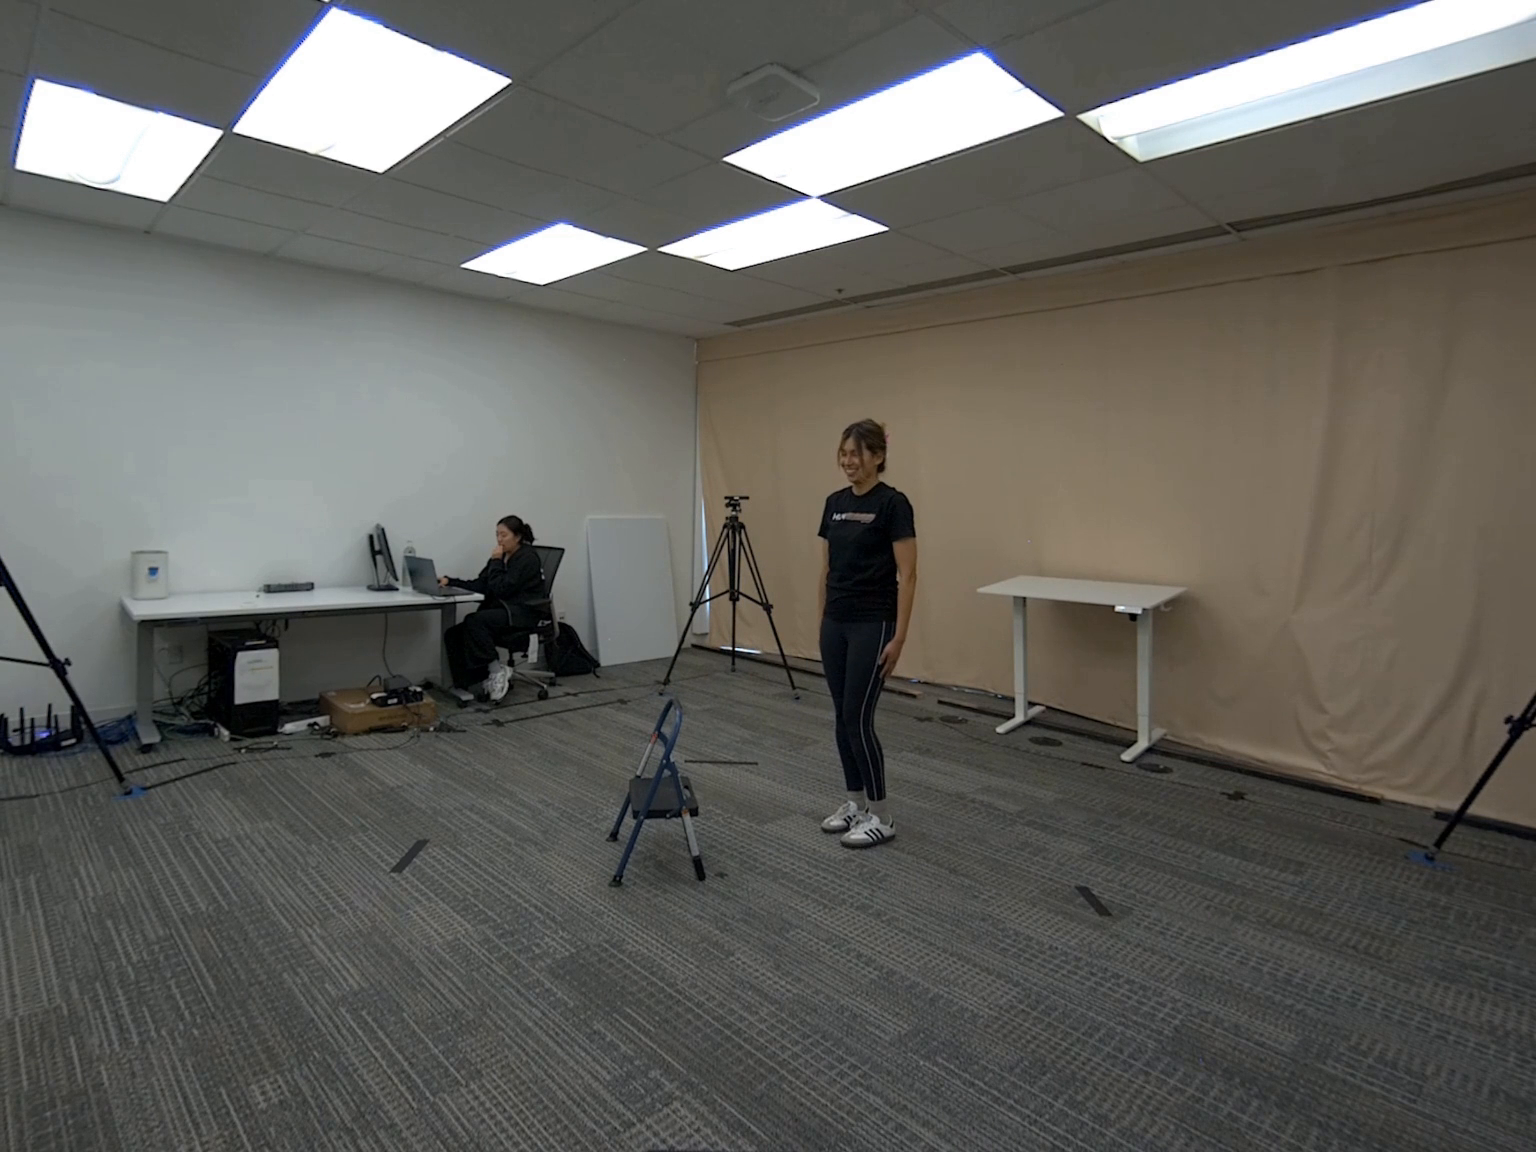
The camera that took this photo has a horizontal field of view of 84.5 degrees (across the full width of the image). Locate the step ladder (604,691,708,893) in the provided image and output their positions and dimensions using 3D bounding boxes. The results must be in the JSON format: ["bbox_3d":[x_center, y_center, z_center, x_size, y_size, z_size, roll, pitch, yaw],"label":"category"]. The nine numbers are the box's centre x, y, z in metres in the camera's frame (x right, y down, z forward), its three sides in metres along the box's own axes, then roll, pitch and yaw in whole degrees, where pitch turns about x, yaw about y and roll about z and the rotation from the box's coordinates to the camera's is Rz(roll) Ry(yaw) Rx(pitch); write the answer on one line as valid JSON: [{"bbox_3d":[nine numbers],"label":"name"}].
[{"bbox_3d":[-0.440,0.790,3.208,0.346,0.604,0.435,0,4,-11],"label":"step ladder"}]
